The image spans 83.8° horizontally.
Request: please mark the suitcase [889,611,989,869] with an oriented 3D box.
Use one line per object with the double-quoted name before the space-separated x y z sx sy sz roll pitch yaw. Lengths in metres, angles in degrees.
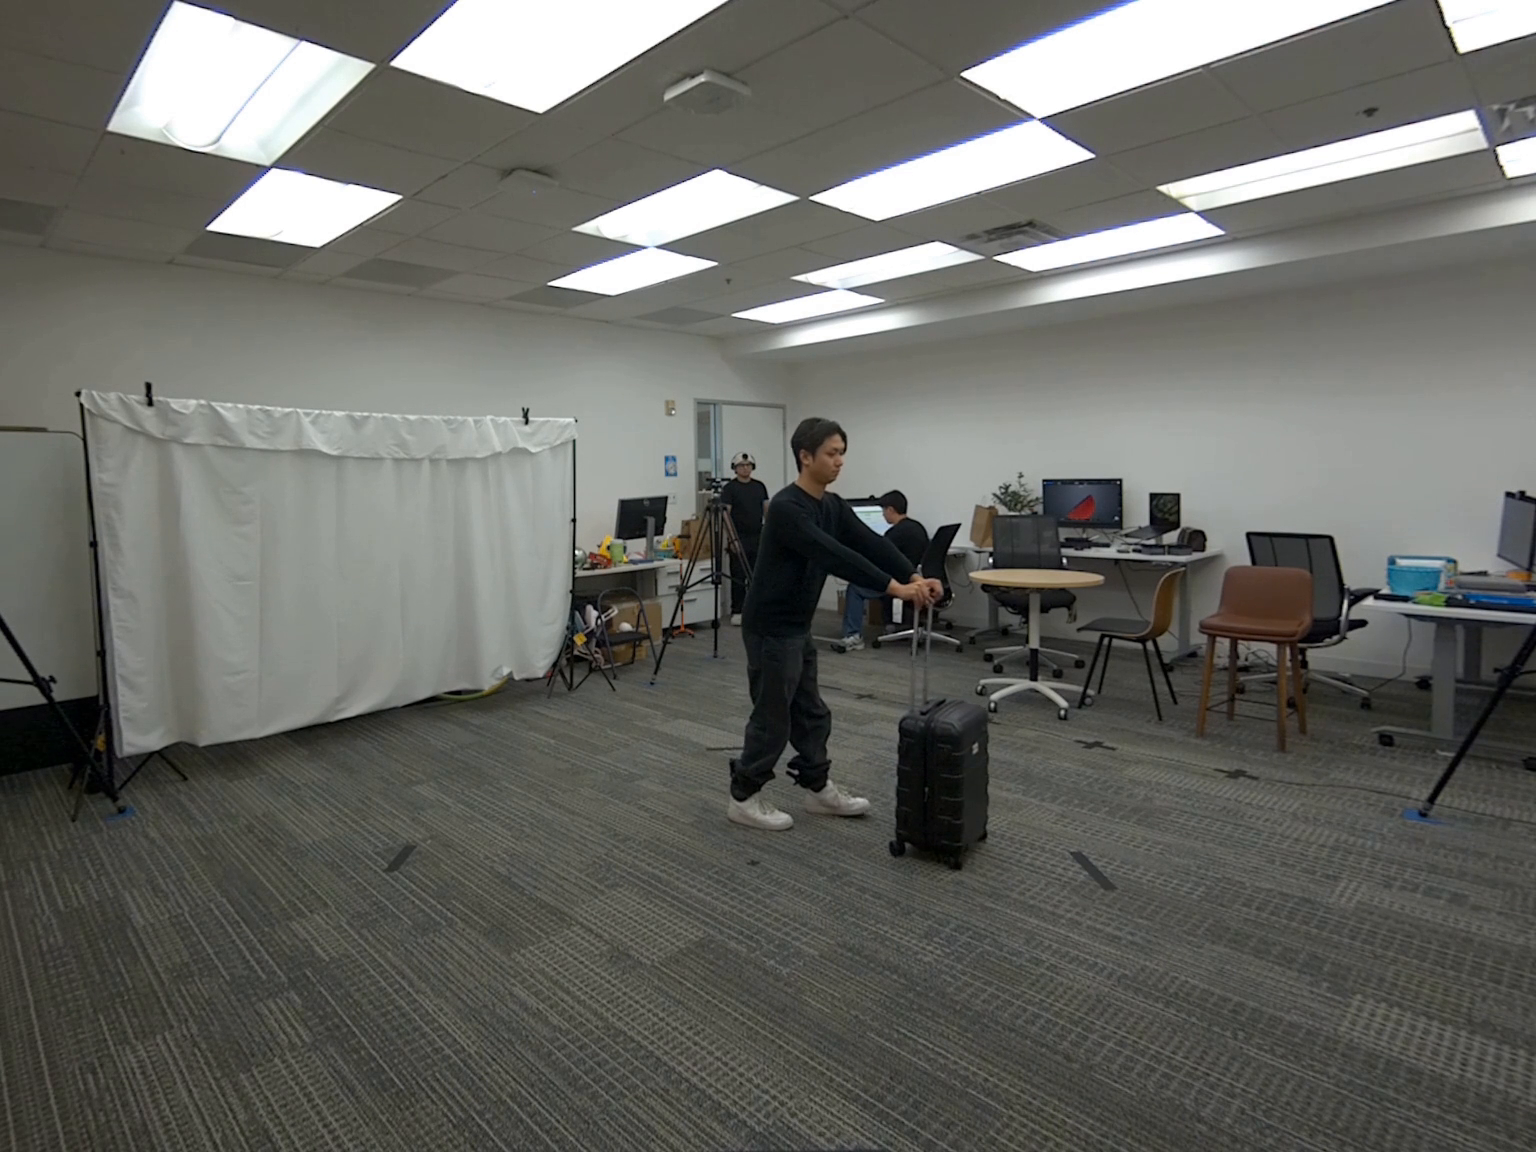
"suitcase" 0.663 0.551 3.152 0.264 0.974 0.375 4 7 31
